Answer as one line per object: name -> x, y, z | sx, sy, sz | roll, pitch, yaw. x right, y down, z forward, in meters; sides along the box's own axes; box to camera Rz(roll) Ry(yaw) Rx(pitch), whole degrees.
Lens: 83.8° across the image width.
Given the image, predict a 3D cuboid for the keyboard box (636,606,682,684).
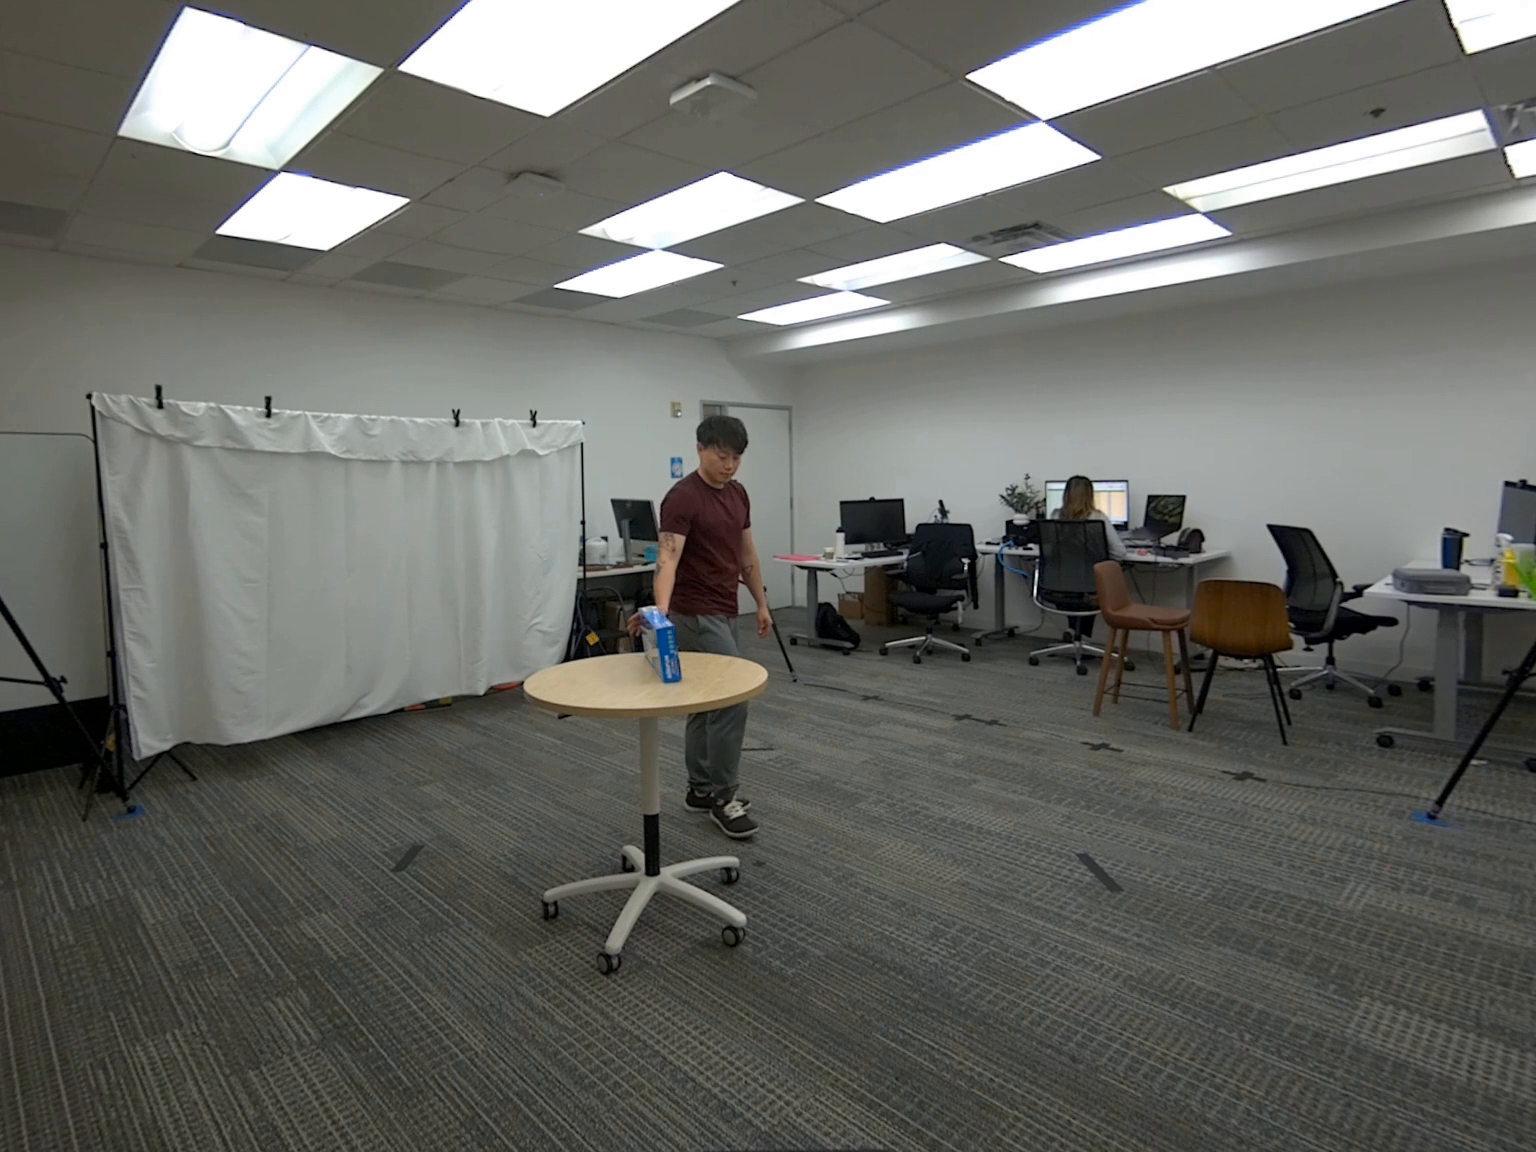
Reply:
keyboard box -> -0.364, 0.220, 2.815 | 0.058, 0.175, 0.444 | -11, 8, -13
